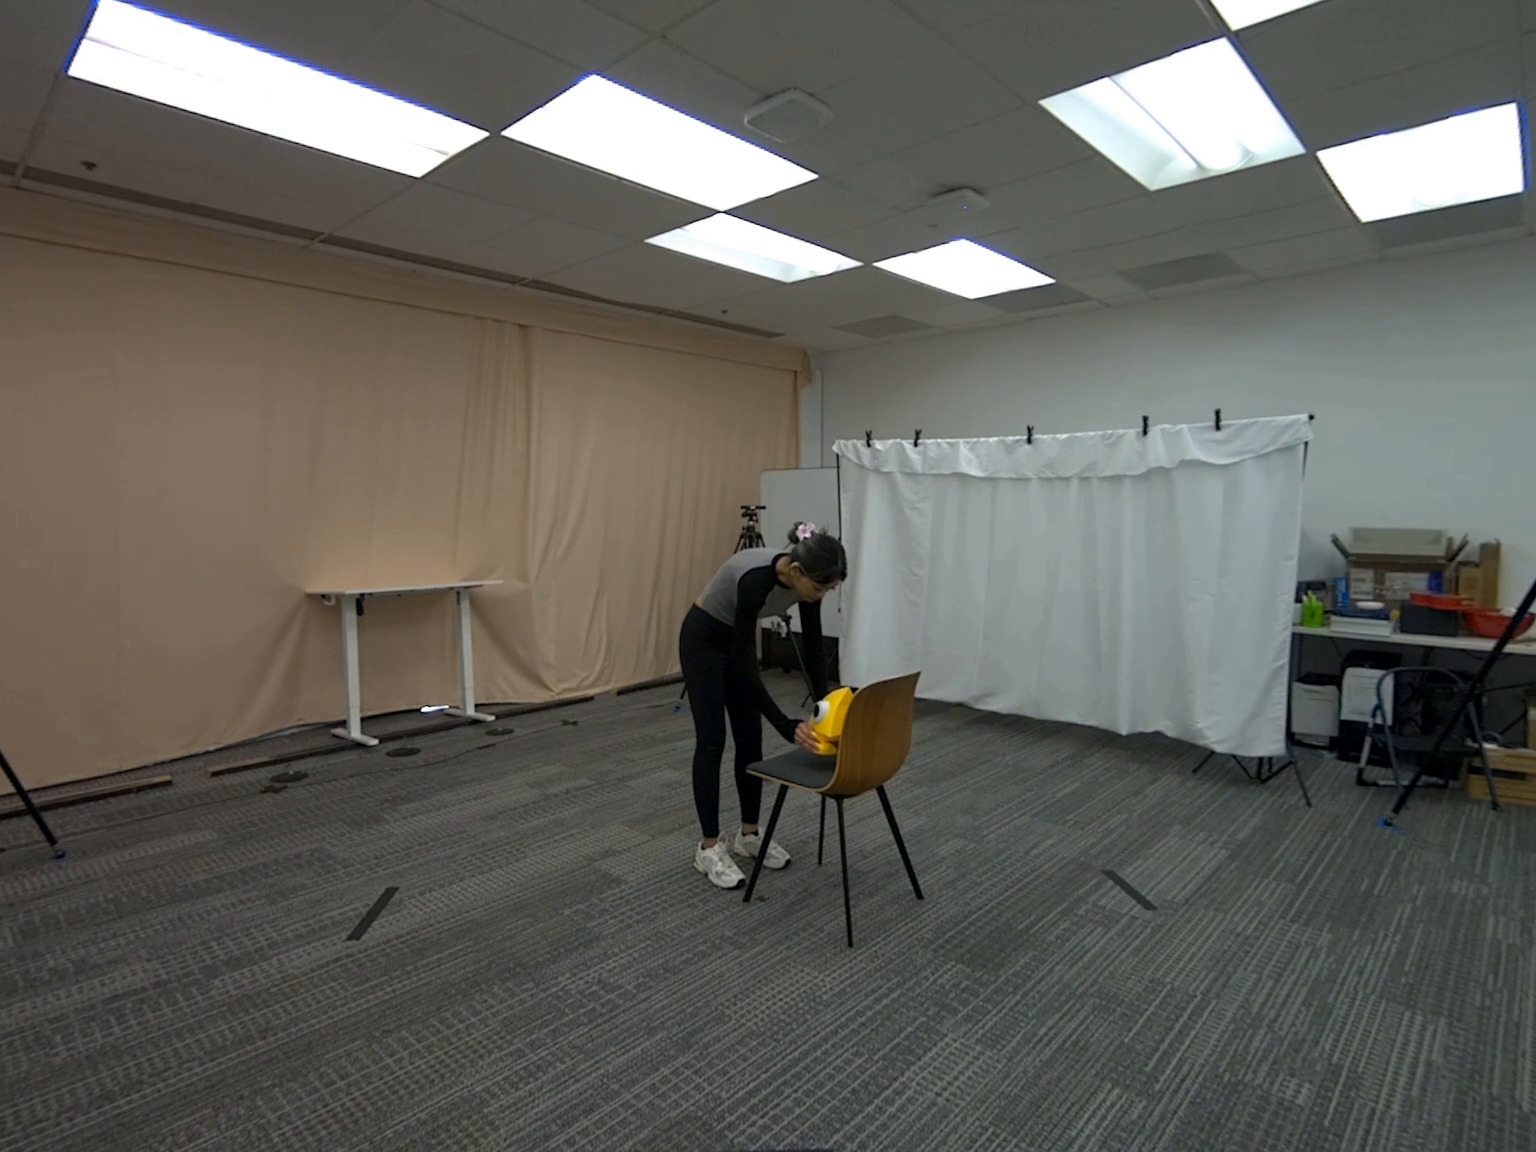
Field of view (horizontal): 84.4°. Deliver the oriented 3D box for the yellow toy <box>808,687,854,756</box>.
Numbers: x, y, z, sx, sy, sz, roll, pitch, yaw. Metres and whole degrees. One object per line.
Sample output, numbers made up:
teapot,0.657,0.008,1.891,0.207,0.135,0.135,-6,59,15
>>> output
yellow toy,0.224,0.486,2.944,0.198,0.230,0.200,-2,12,-44
